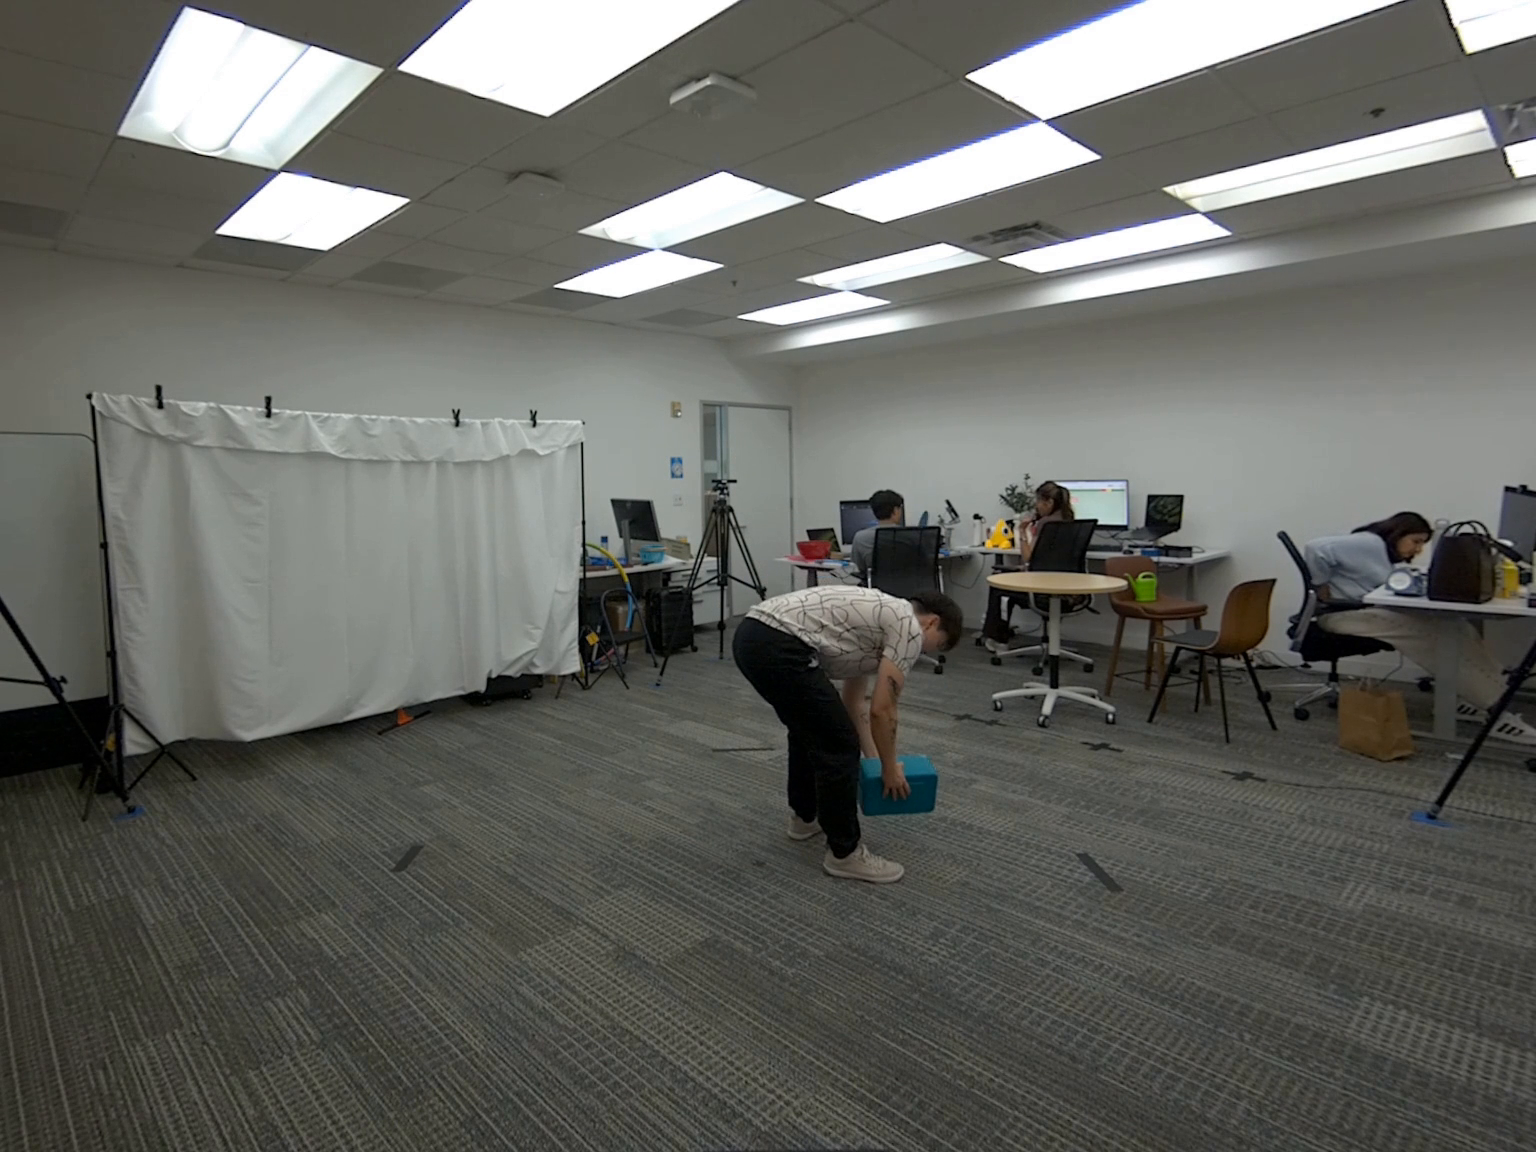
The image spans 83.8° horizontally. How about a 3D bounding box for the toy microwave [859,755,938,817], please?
[{"bbox_3d":[0.490,0.783,3.208,0.285,0.181,0.155,-1,19,-5],"label":"toy microwave"}]
